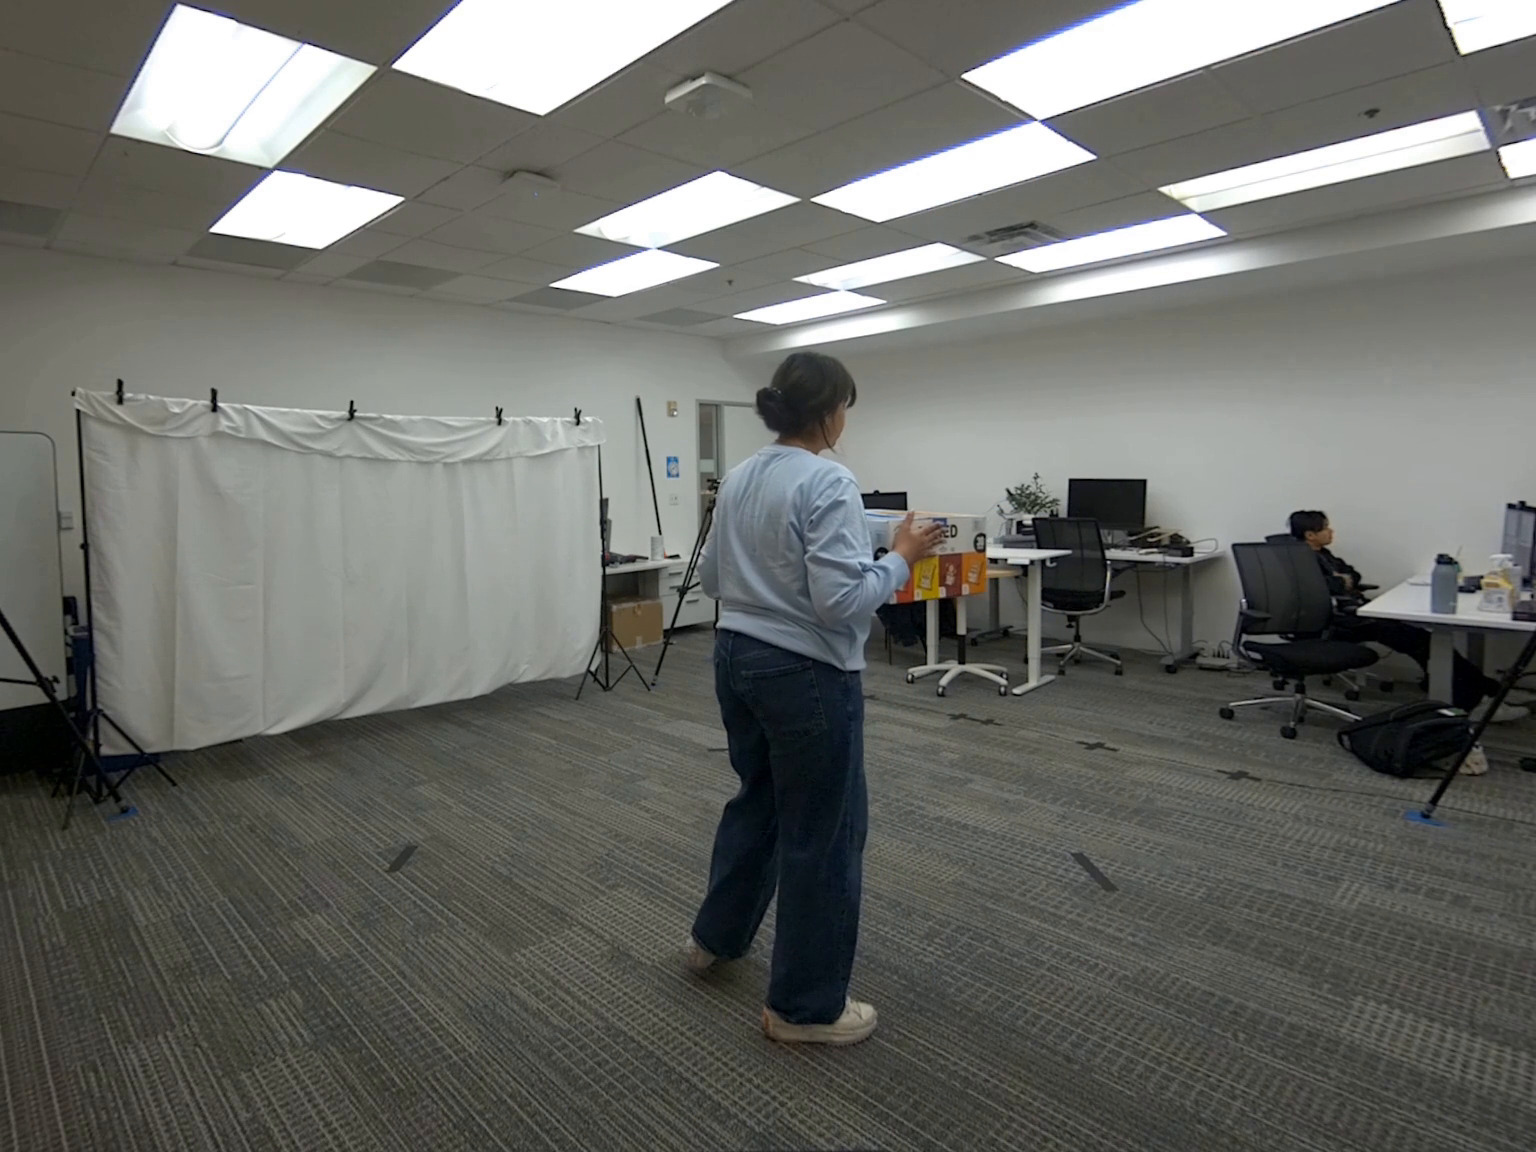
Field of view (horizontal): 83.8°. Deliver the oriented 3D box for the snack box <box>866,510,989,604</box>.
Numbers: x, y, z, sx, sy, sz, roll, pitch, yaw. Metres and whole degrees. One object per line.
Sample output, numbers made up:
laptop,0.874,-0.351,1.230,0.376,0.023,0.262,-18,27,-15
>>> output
snack box,0.308,-0.064,2.300,0.332,0.205,0.417,-4,8,-33
